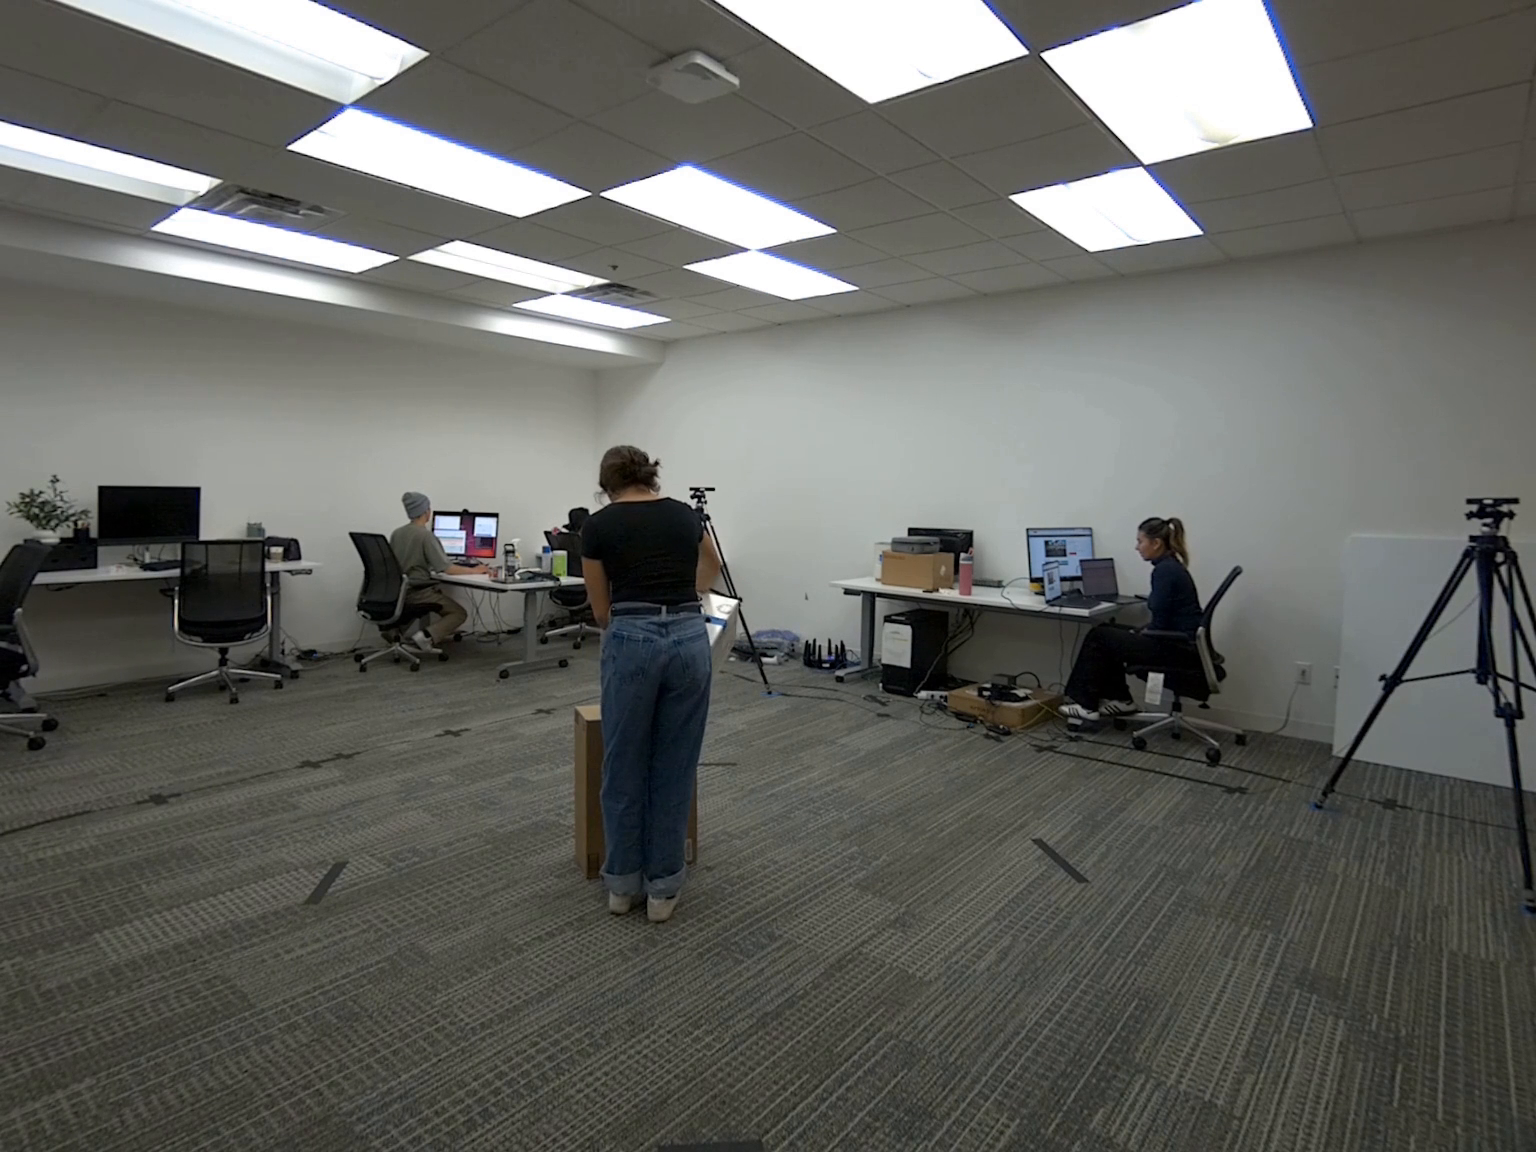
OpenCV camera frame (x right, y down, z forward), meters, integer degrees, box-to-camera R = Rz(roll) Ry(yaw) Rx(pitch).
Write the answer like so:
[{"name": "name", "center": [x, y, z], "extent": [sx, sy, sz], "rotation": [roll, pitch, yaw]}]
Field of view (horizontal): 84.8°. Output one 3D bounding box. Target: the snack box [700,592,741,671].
[{"name": "snack box", "center": [-0.360, 0.205, 3.082], "extent": [0.412, 0.201, 0.342], "rotation": [12, 28, 12]}]
